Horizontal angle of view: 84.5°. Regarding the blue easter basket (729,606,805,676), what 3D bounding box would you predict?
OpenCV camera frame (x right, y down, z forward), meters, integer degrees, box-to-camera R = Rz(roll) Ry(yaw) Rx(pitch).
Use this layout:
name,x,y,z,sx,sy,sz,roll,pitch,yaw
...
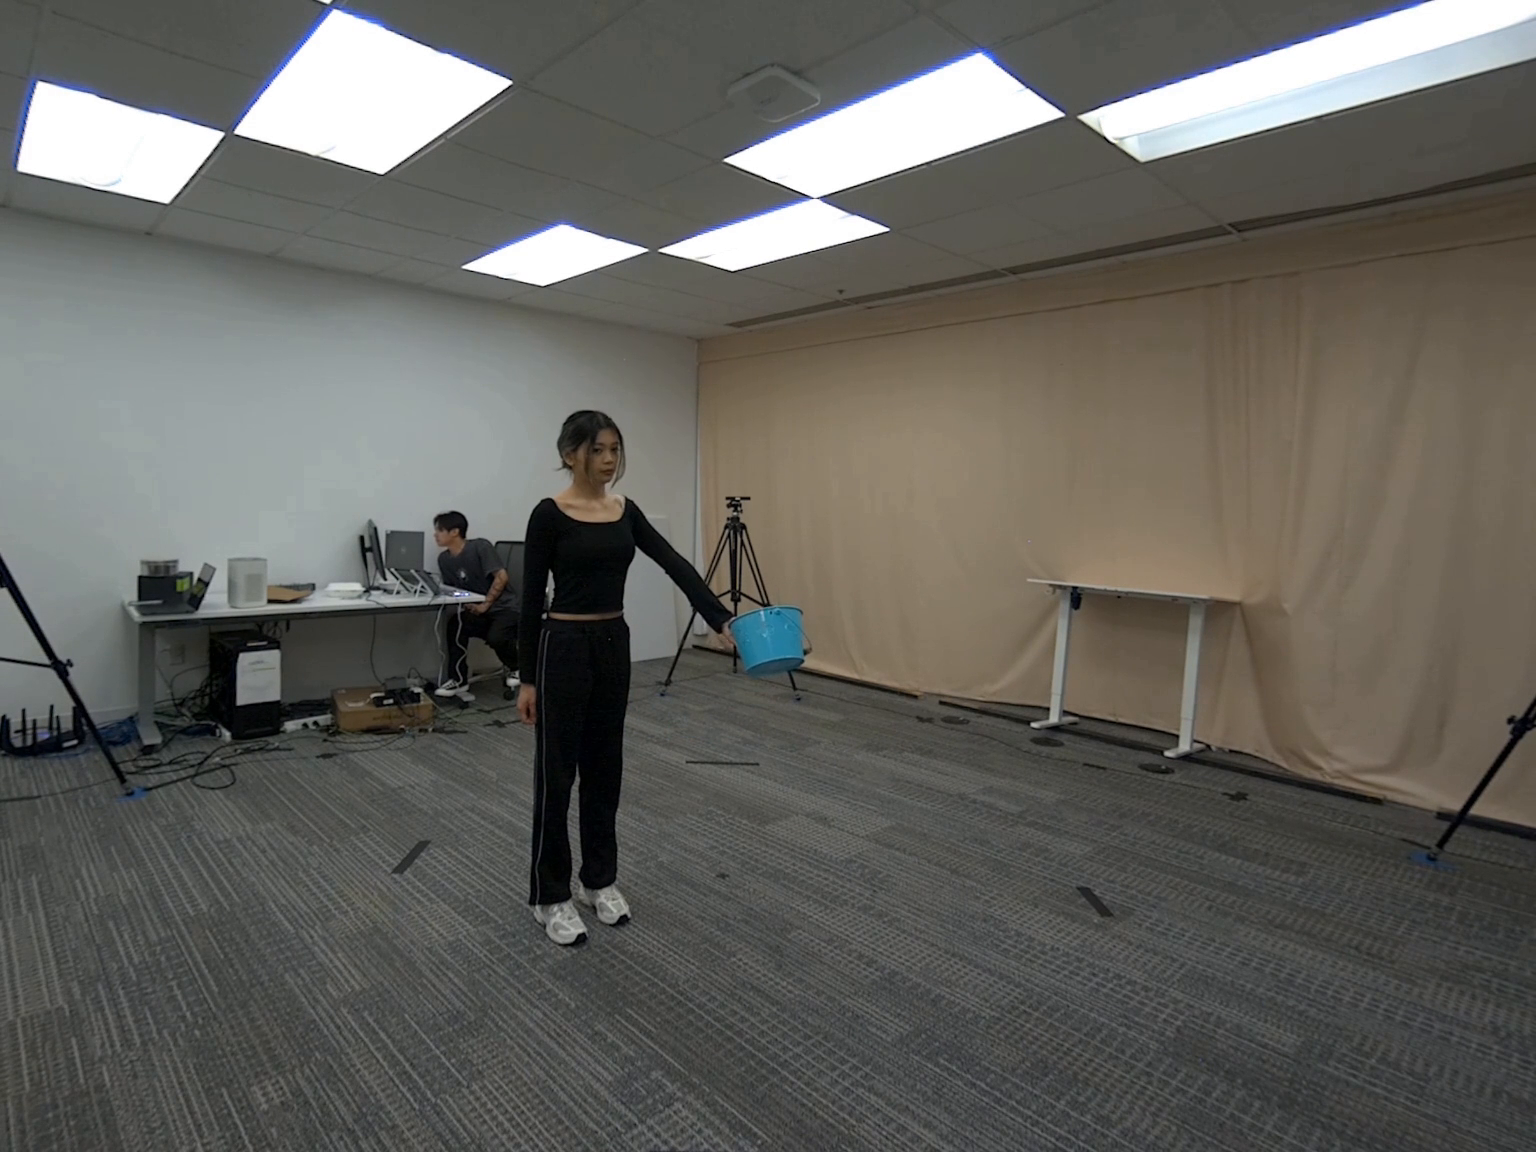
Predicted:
name,x,y,z,sx,sy,sz,roll,pitch,yaw
blue easter basket,0.001,0.207,2.556,0.243,0.159,0.240,-9,-21,-5
